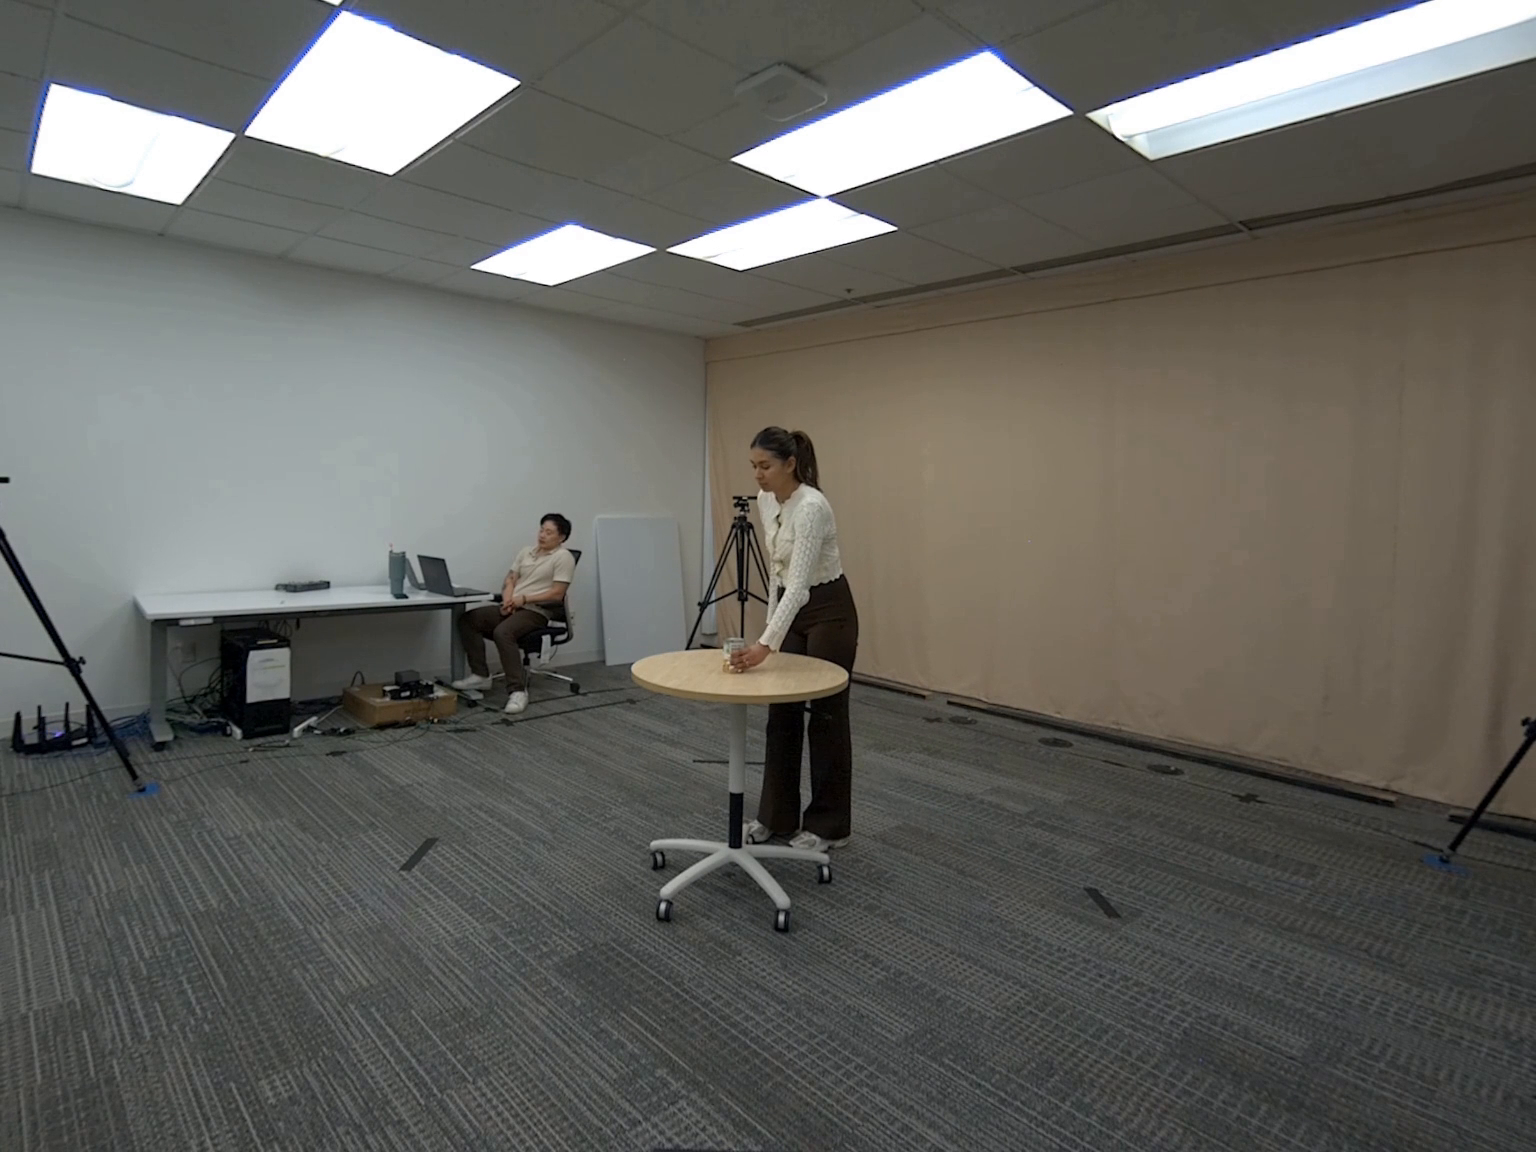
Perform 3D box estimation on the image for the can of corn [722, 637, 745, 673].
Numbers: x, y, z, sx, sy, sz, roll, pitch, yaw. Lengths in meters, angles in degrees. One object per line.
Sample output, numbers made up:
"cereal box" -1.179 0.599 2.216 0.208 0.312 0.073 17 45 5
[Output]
"can of corn" -0.129 0.275 2.948 0.074 0.111 0.074 2 3 -1
